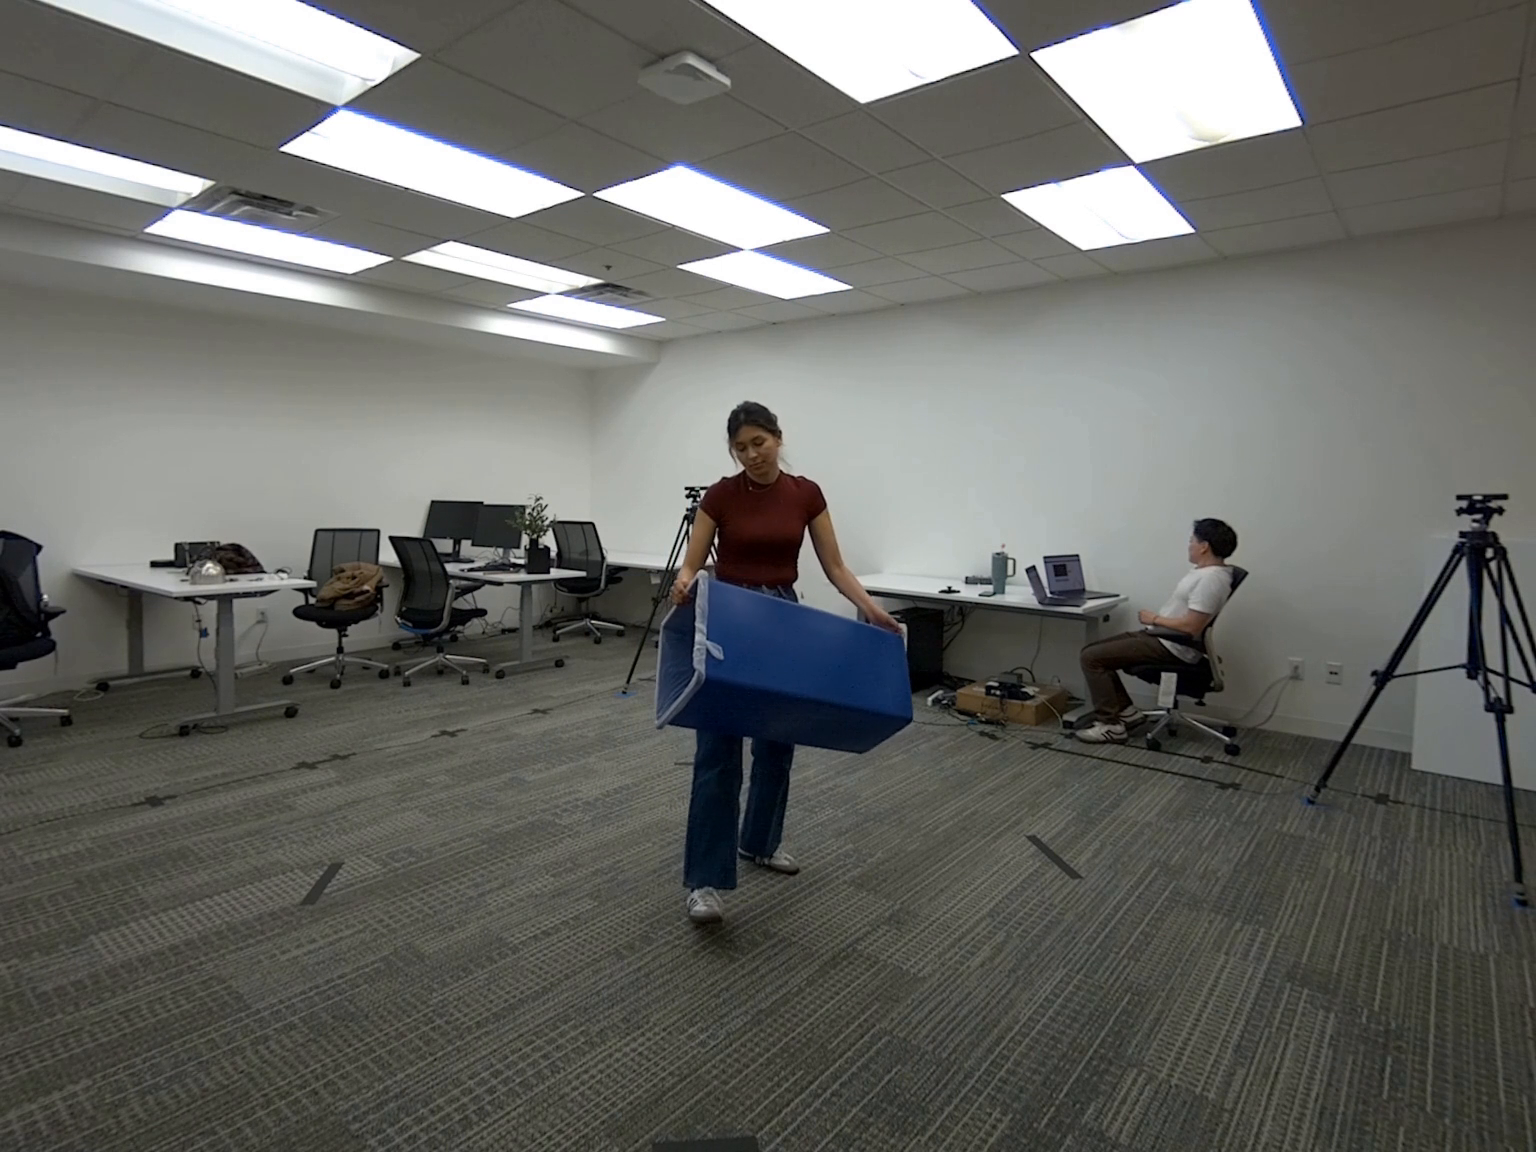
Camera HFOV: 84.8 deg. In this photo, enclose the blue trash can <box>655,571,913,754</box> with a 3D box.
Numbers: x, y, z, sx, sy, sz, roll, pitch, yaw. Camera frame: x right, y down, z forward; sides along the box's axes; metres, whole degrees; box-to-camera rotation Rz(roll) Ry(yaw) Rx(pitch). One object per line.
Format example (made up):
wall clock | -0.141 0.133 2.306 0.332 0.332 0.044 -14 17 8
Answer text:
blue trash can | 0.033 0.305 2.630 0.697 0.388 0.373 16 -38 -19
